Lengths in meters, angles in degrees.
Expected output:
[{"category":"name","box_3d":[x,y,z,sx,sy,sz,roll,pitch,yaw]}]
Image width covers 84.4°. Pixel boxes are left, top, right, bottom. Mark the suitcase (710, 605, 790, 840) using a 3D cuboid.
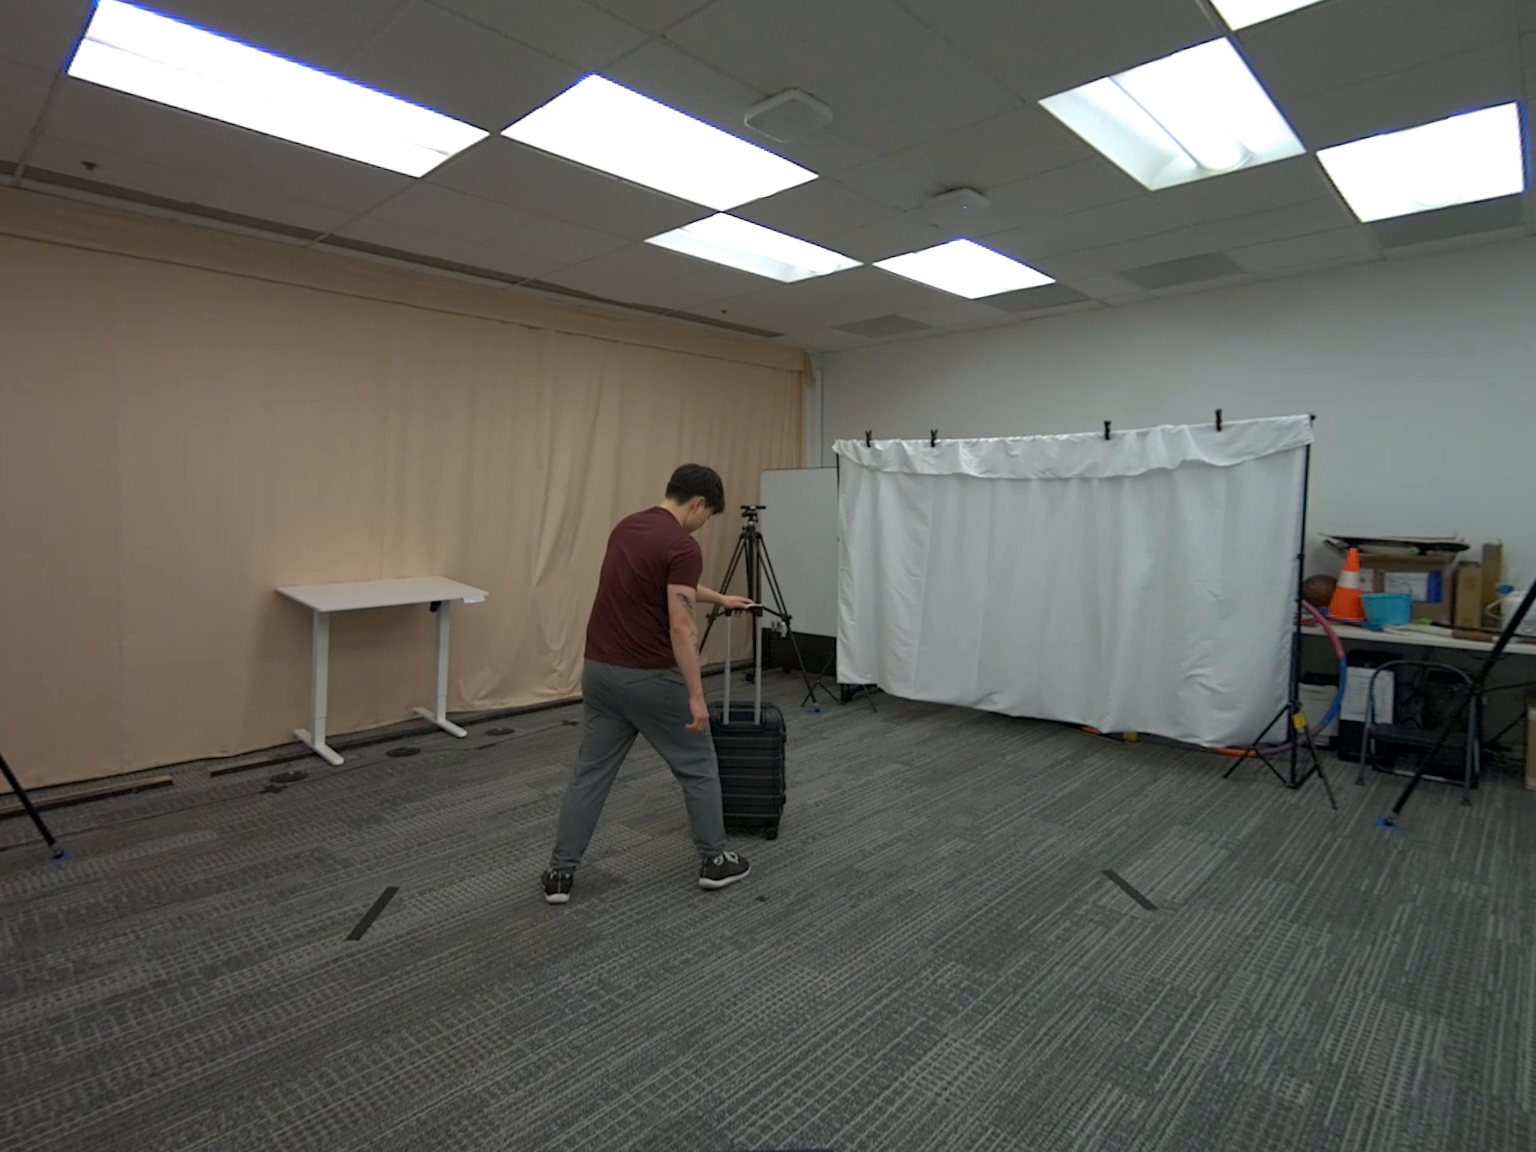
[{"category":"suitcase","box_3d":[-0.108,0.613,3.616,0.385,0.977,0.256,1,3,3]}]
